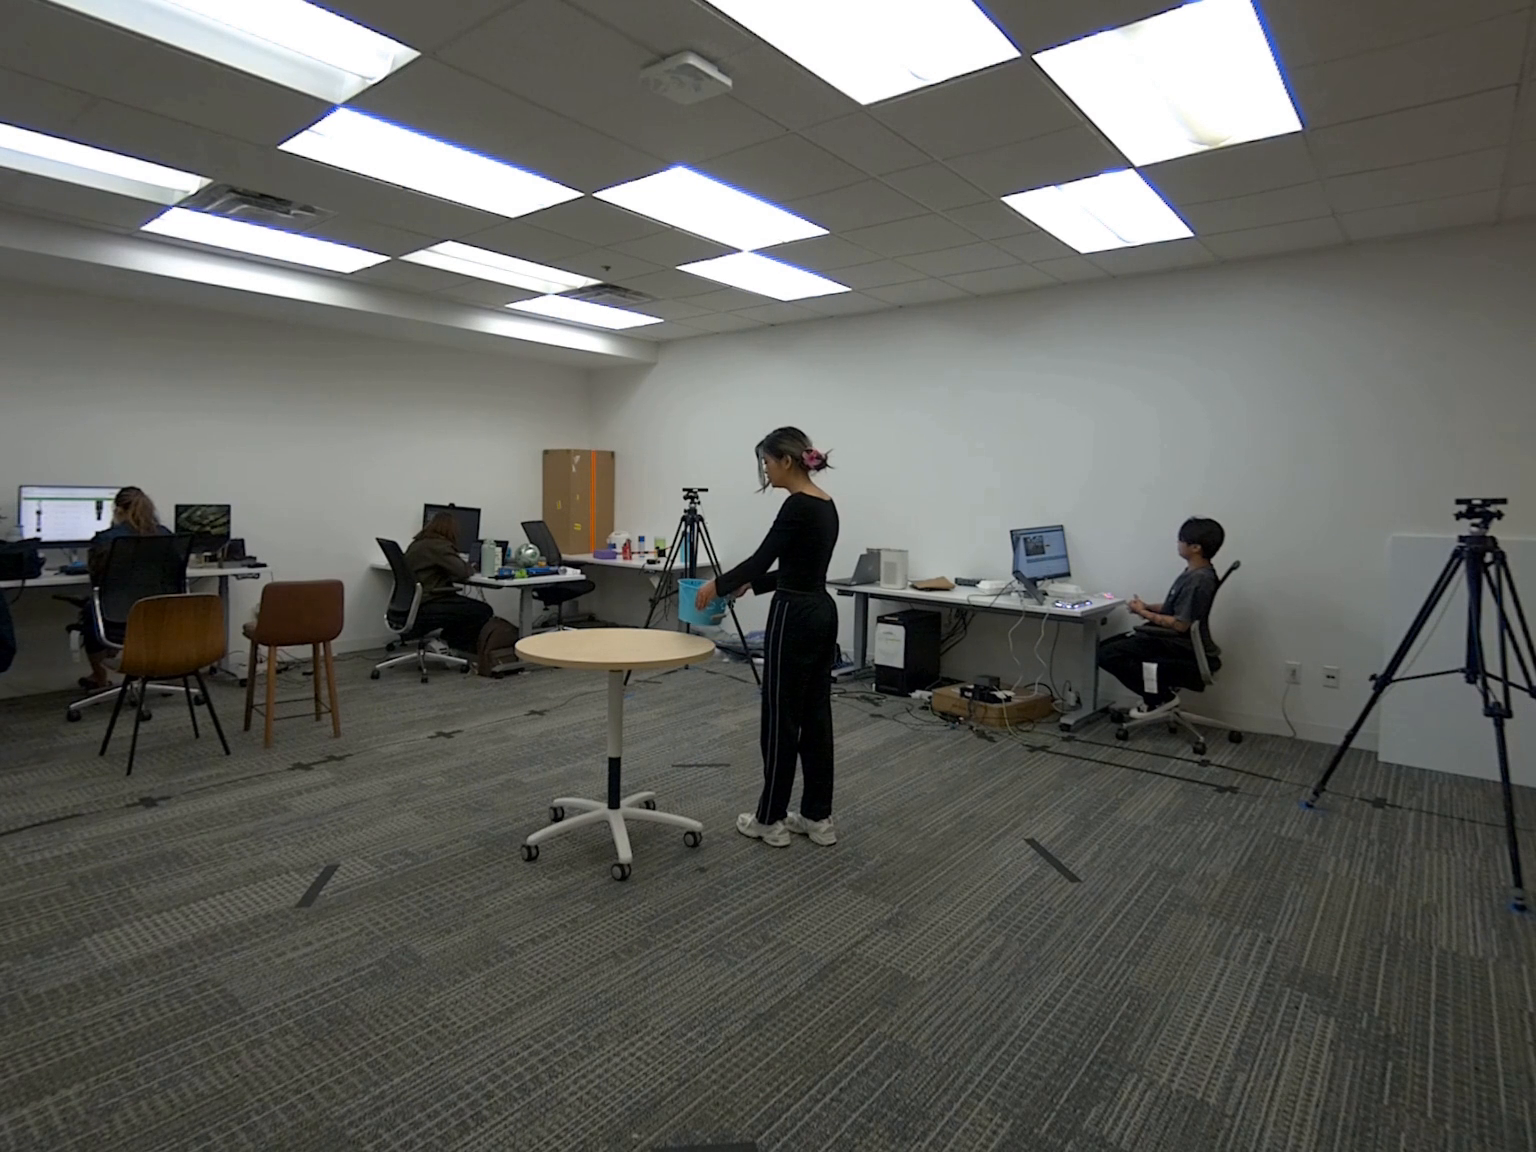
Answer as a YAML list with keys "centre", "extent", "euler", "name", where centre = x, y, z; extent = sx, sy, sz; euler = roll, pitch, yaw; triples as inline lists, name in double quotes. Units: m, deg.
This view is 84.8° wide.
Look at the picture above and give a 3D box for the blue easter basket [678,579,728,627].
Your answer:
- centre: [-0.275, 0.112, 3.568]
  extent: [0.243, 0.155, 0.245]
  euler: [7, 7, -3]
  name: "blue easter basket"
